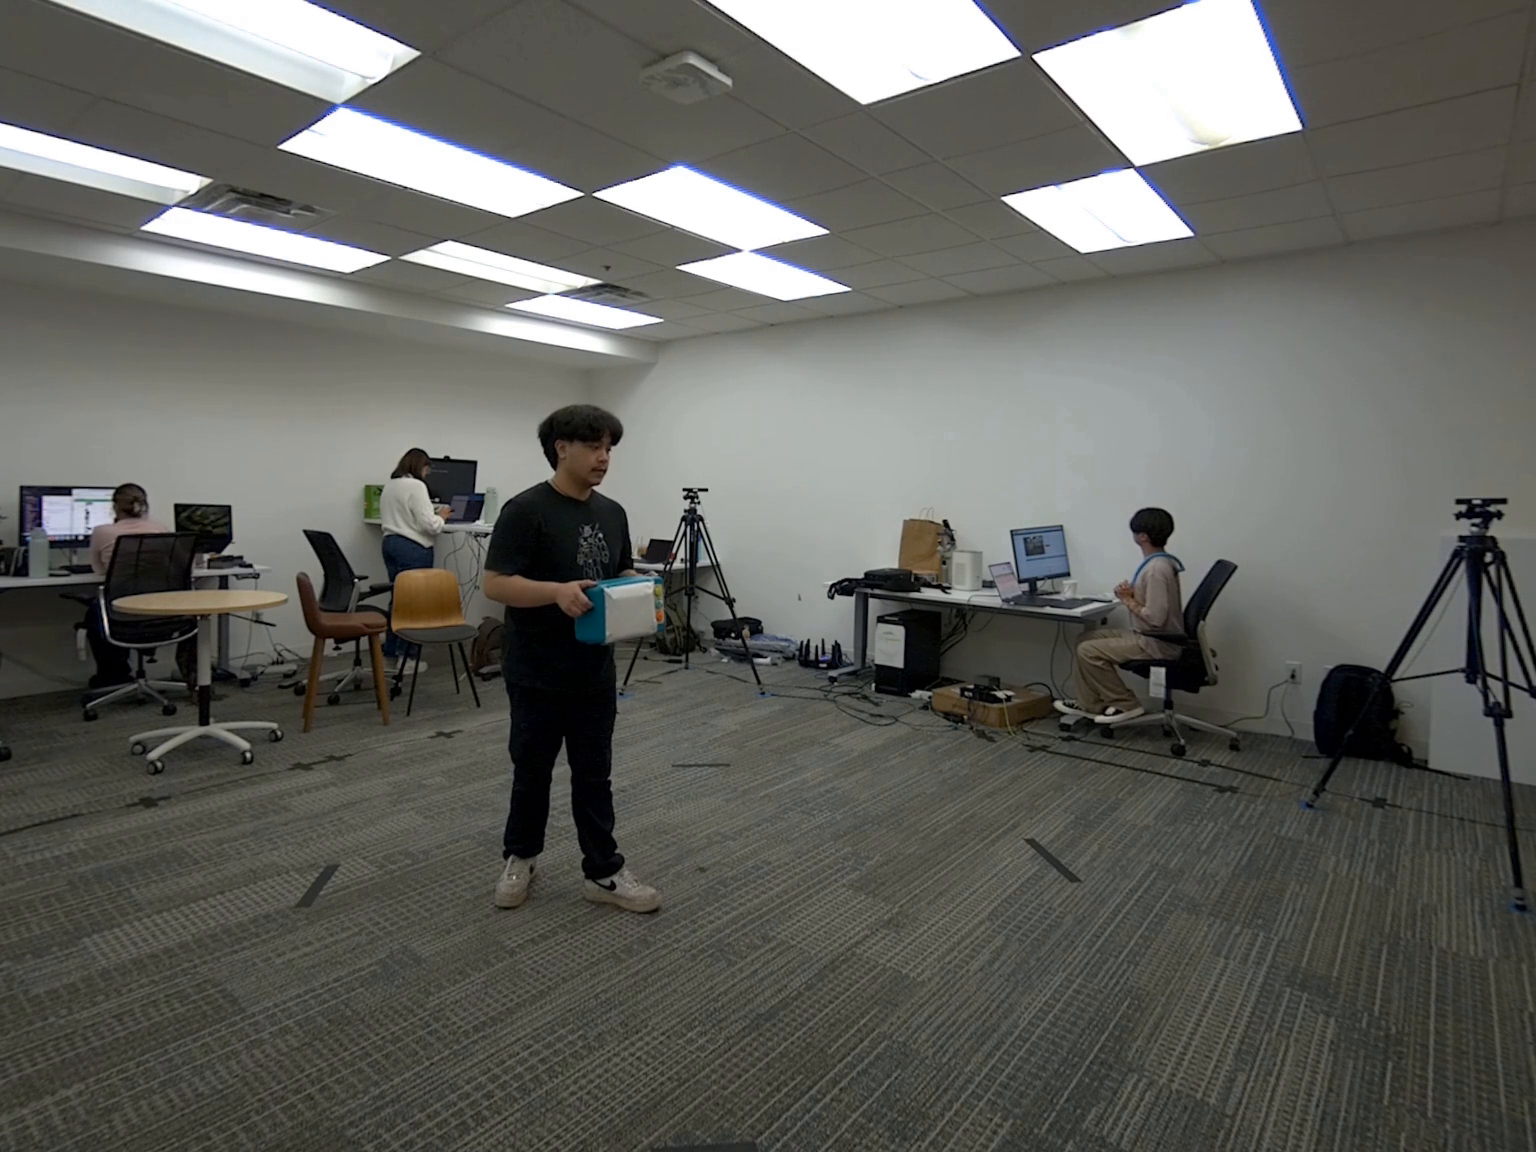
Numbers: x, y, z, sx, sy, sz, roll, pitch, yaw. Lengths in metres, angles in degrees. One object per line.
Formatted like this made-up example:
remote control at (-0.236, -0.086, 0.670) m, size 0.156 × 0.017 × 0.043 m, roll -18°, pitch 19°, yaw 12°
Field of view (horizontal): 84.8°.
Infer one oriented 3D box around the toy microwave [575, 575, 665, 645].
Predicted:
toy microwave at (-0.464, 0.101, 2.634) m, size 0.157 × 0.183 × 0.278 m, roll 0°, pitch 5°, yaw 38°
